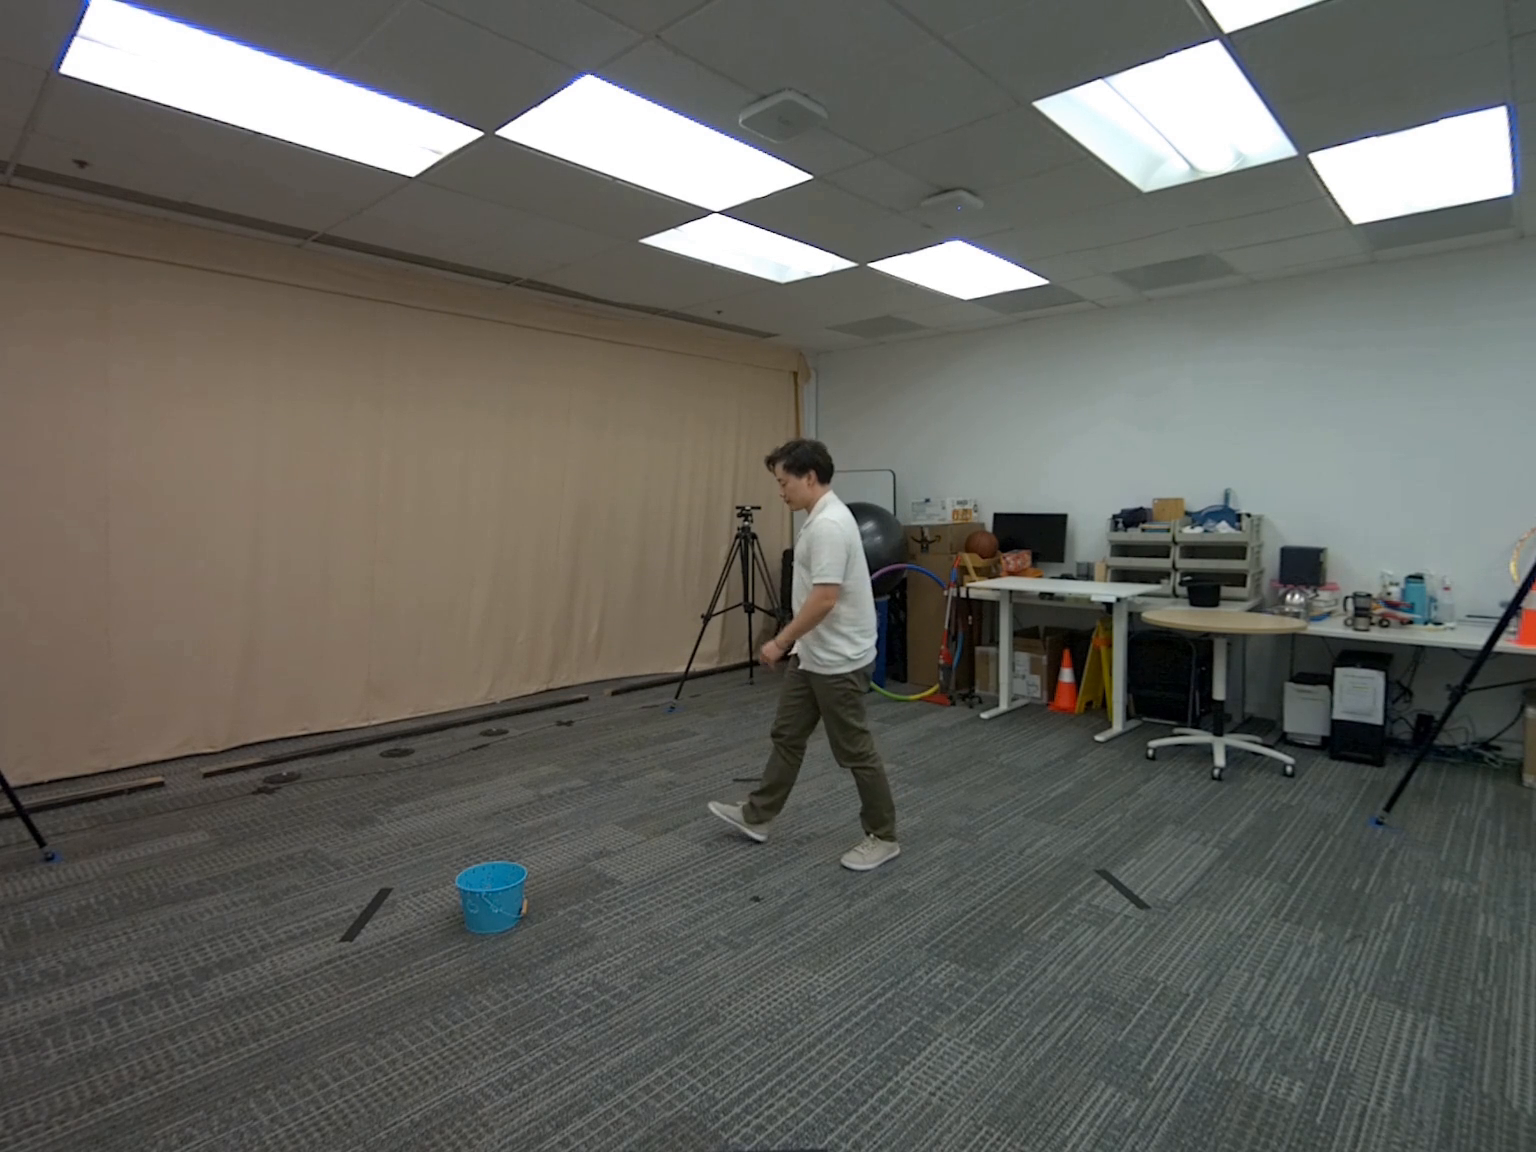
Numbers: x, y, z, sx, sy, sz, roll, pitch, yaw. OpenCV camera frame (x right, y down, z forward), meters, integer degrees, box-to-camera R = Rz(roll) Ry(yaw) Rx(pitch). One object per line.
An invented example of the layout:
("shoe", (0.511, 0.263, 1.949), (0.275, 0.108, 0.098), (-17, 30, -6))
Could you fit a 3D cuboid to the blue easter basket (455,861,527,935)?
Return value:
("blue easter basket", (-0.926, 1.090, 2.832), (0.243, 0.155, 0.244), (1, 3, -2))
